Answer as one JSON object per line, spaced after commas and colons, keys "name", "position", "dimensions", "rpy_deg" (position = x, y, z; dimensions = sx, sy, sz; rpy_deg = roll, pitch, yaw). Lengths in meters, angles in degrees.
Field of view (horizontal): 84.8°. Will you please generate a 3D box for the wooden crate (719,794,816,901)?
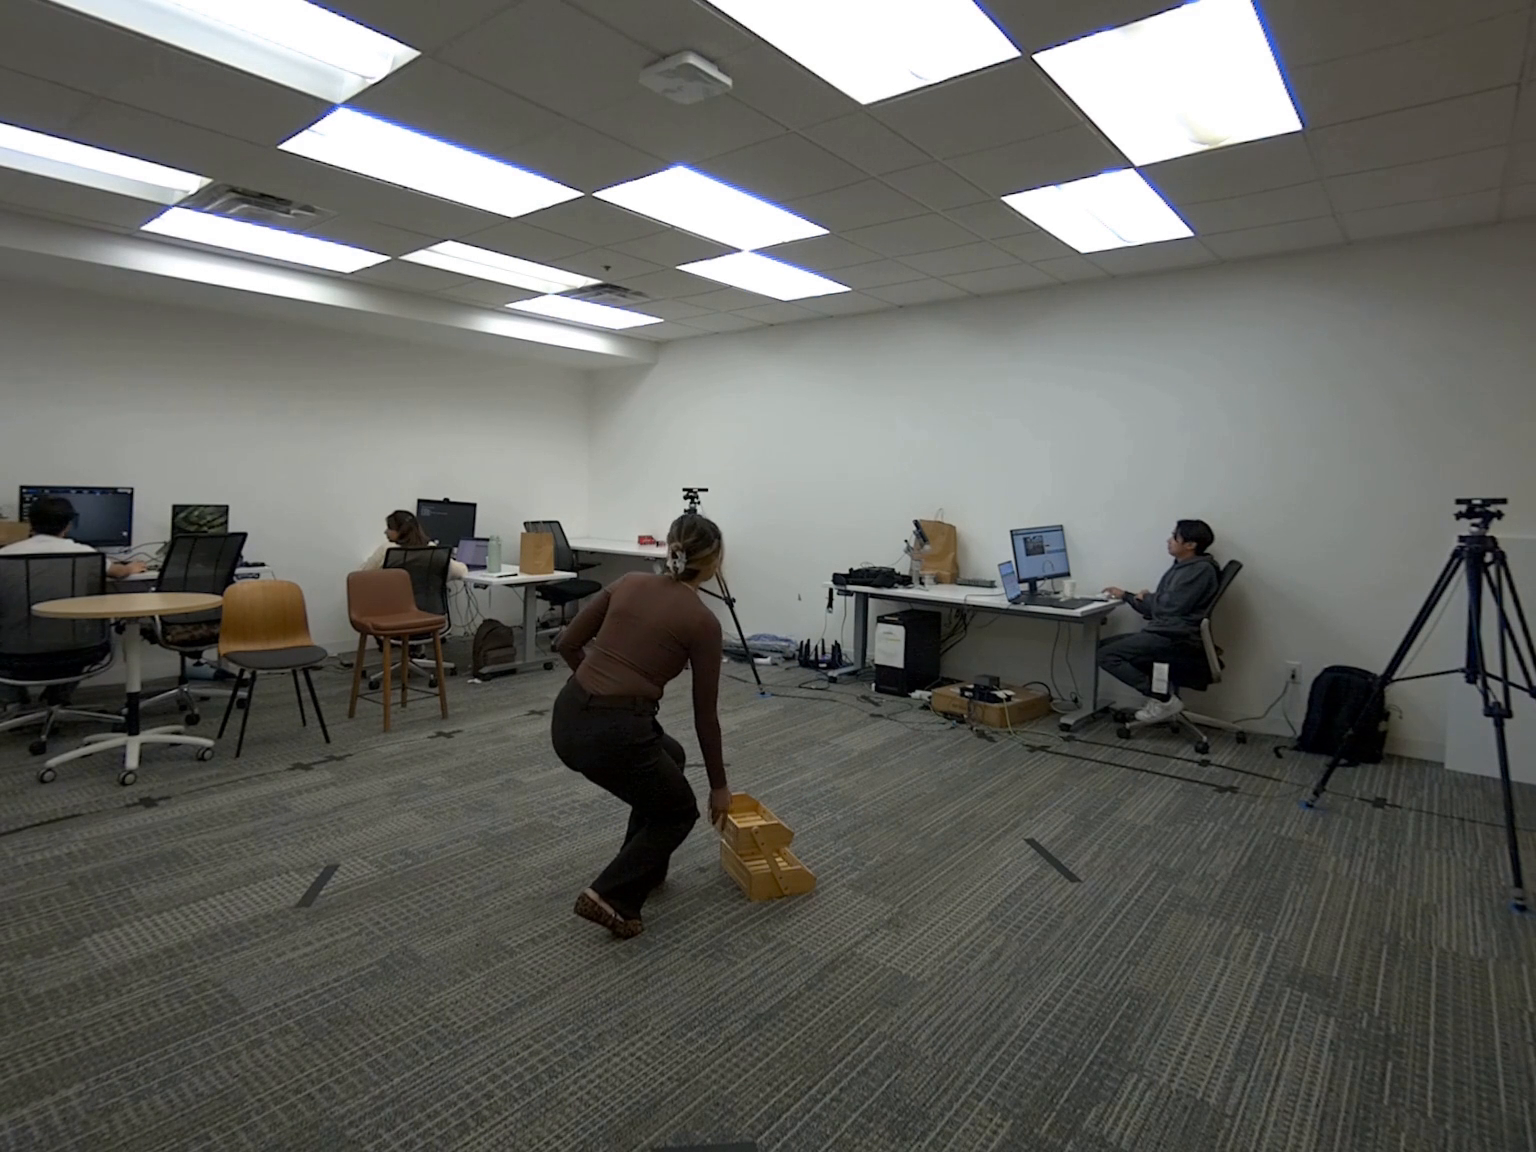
{"name": "wooden crate", "position": [-0.031, 0.947, 3.040], "dimensions": [0.296, 0.272, 0.333], "rpy_deg": [-1, 5, -22]}
